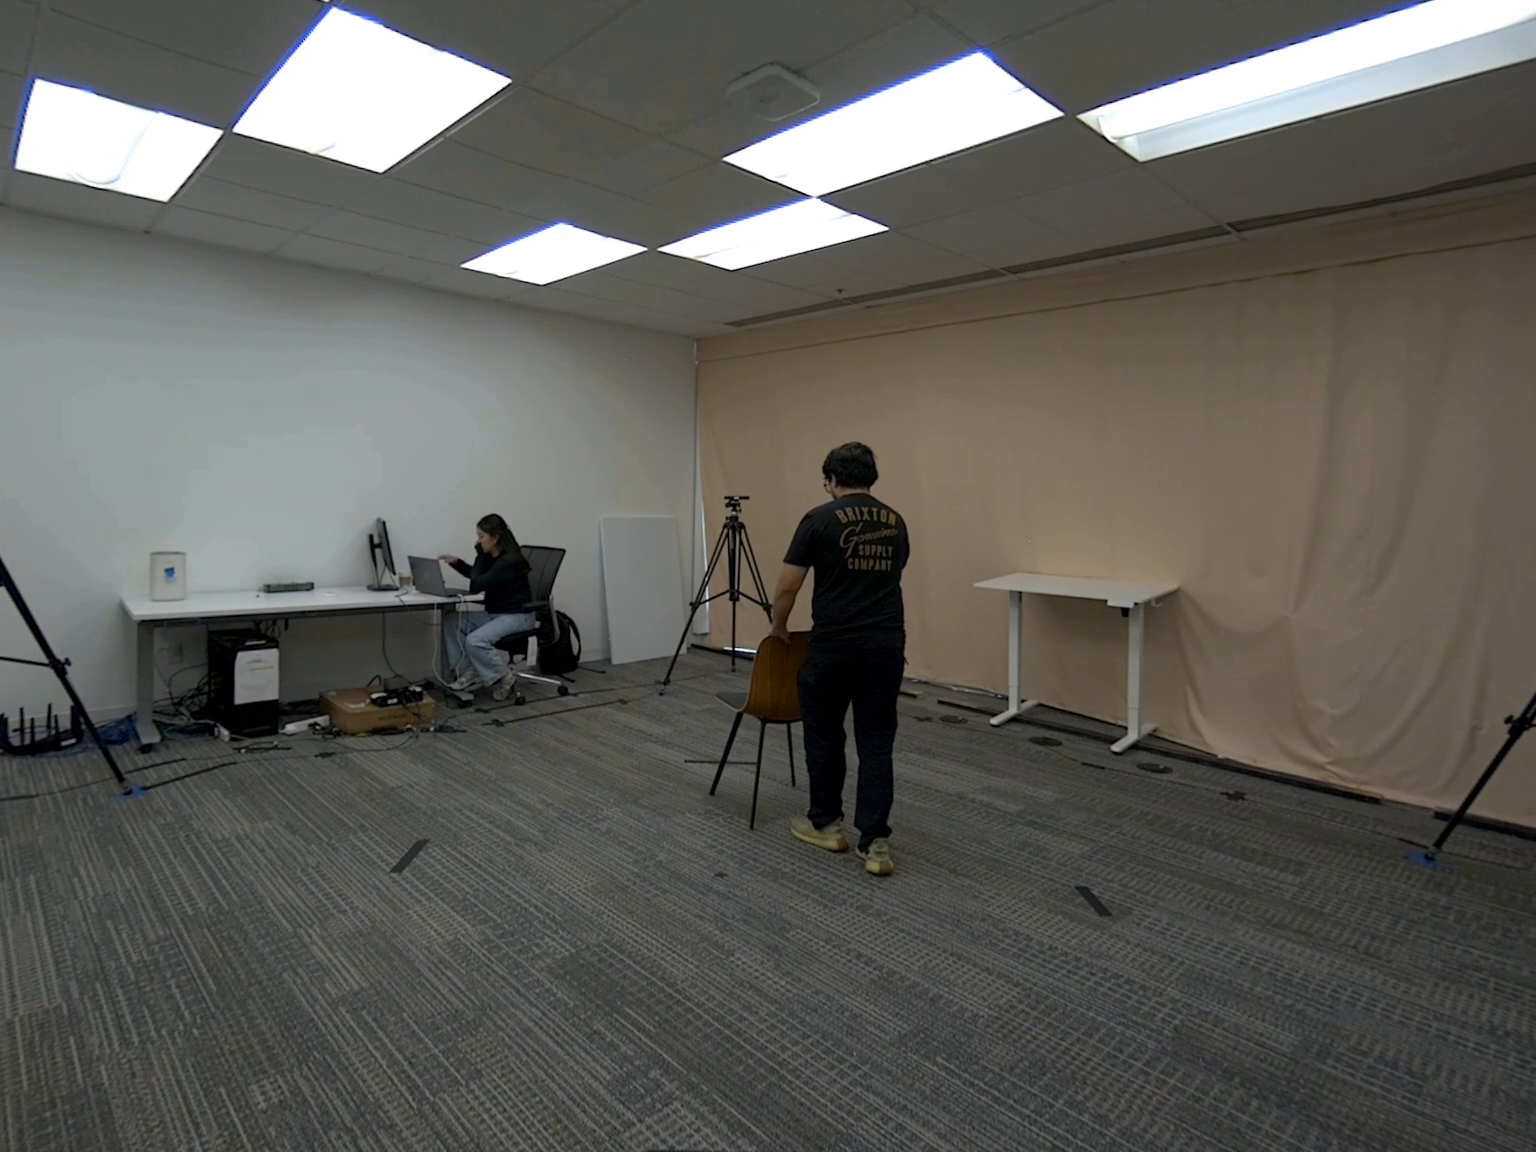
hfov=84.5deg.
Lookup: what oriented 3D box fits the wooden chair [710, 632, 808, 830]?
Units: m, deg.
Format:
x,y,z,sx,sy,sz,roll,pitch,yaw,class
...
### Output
x,y,z,sx,sy,sz,roll,pitch,yaw,class
0.026,0.617,3.813,0.469,0.873,0.535,0,8,-25,wooden chair
